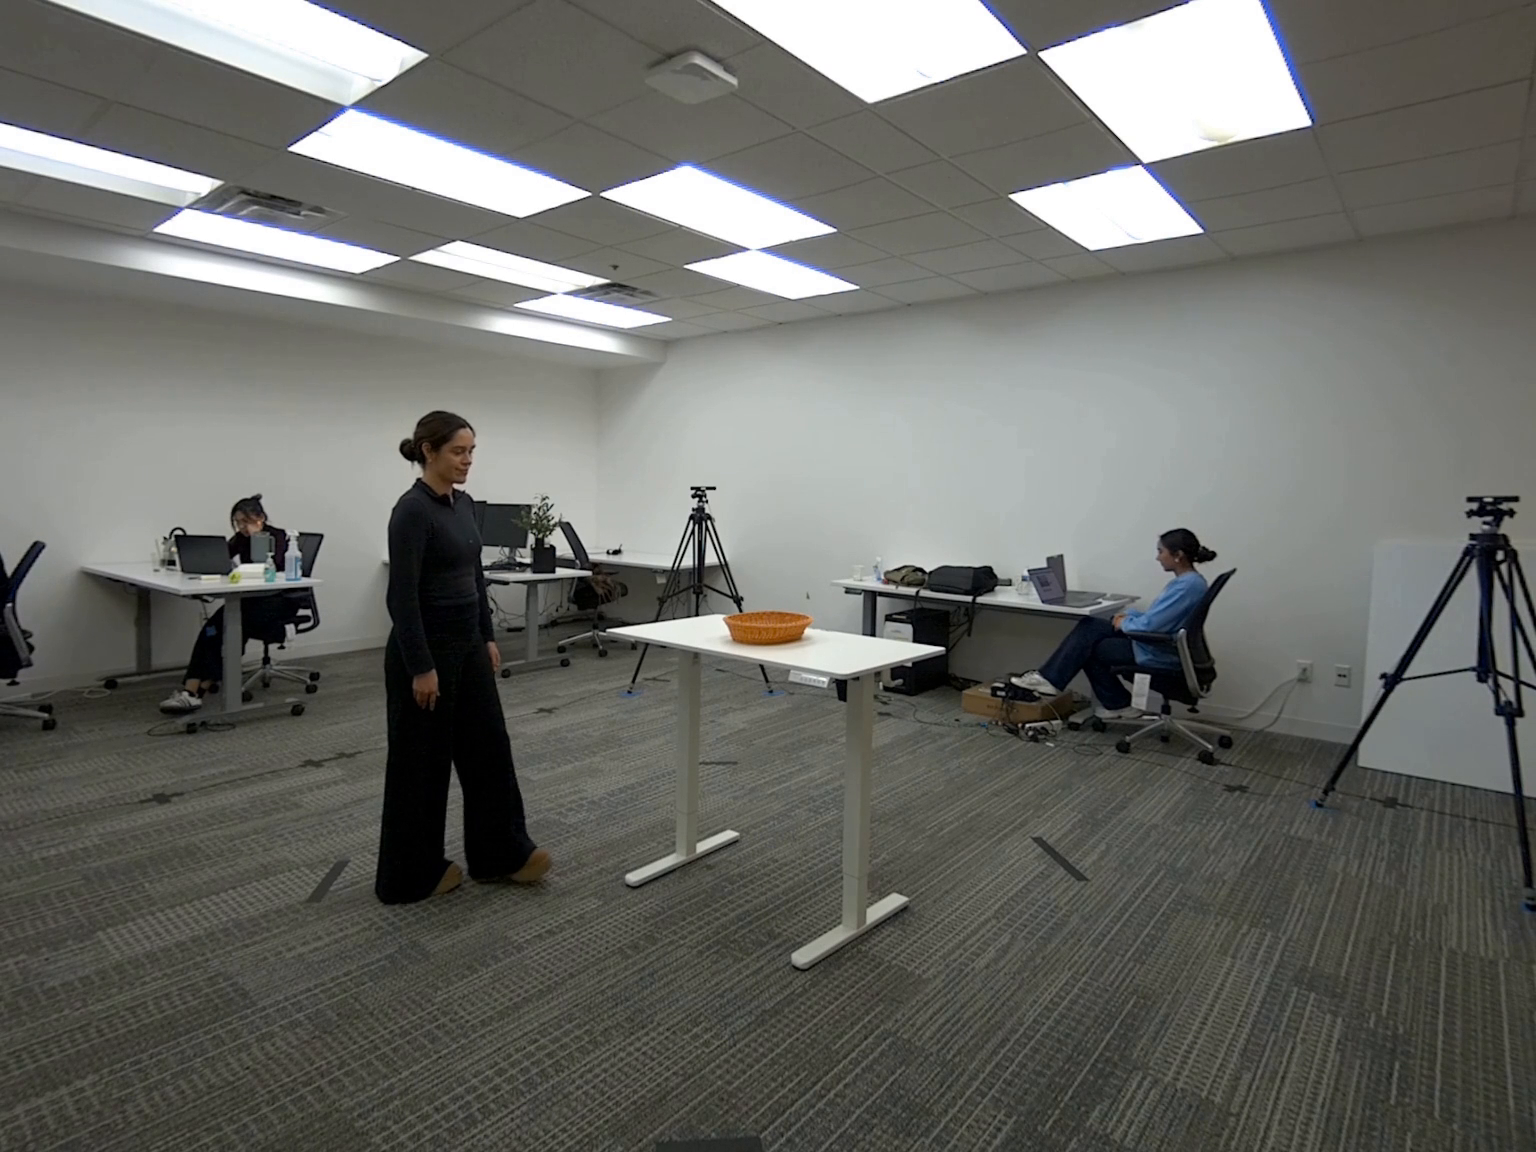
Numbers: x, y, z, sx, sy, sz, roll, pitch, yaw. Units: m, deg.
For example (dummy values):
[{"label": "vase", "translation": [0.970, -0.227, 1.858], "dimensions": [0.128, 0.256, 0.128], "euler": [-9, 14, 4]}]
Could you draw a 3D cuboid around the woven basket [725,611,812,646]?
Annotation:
[{"label": "woven basket", "translation": [-0.006, 0.182, 2.870], "dimensions": [0.261, 0.073, 0.340], "euler": [7, 7, 44]}]
